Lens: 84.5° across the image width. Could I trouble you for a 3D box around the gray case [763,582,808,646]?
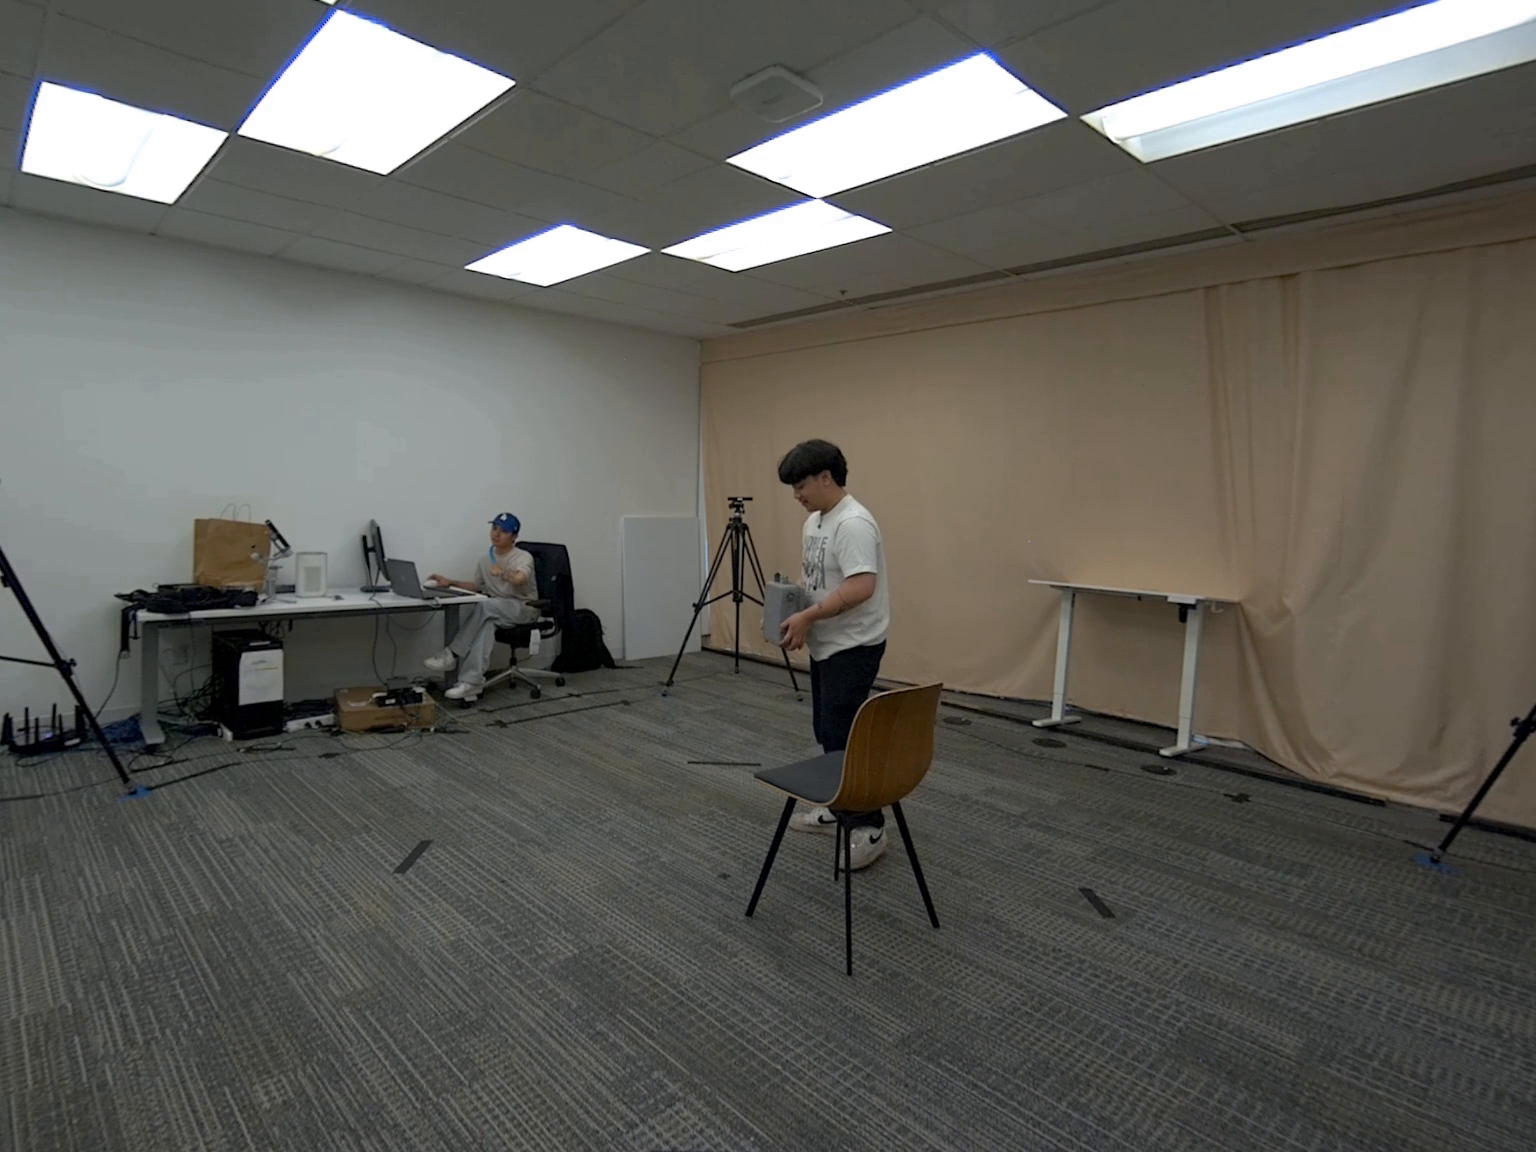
[{"bbox_3d":[0.057,0.148,3.400,0.103,0.260,0.260,0,2,-18],"label":"gray case"}]
